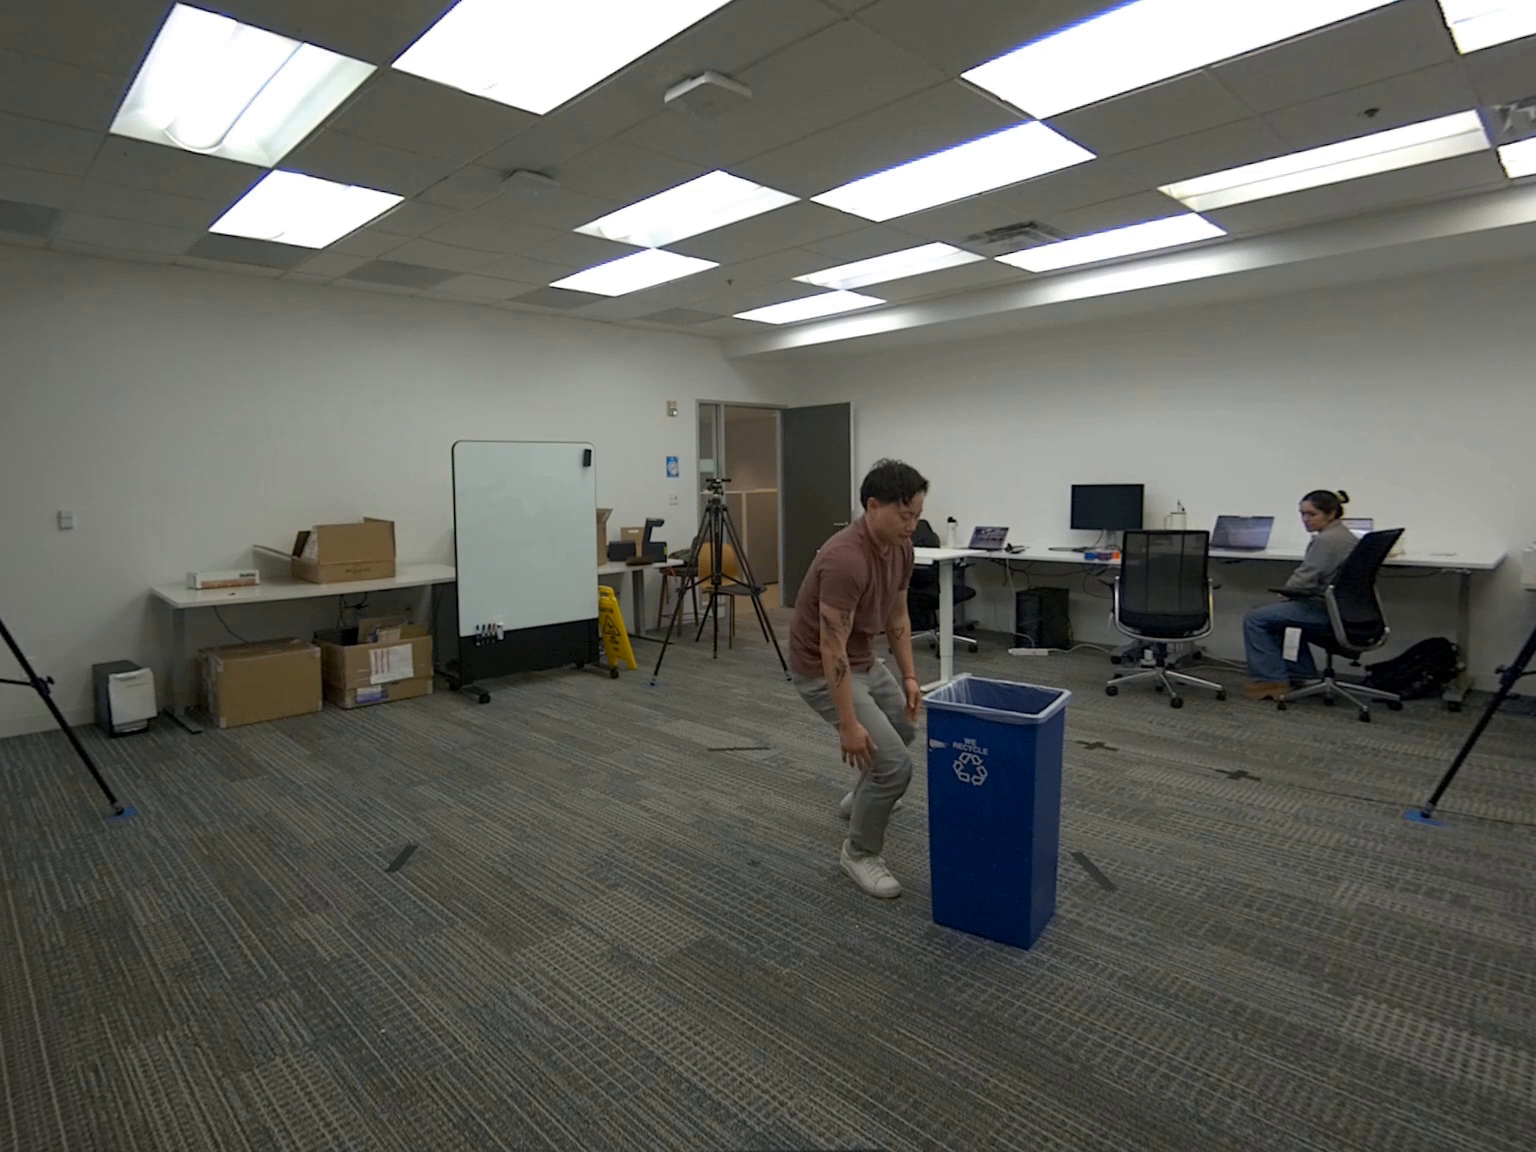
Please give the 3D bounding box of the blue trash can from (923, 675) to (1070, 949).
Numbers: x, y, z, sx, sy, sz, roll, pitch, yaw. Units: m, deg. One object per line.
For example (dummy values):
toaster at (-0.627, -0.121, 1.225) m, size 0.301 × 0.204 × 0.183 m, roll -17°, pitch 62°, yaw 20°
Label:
blue trash can at (0.725, 0.723, 2.677) m, size 0.384 × 0.711 × 0.369 m, roll 2°, pitch 5°, yaw 34°
